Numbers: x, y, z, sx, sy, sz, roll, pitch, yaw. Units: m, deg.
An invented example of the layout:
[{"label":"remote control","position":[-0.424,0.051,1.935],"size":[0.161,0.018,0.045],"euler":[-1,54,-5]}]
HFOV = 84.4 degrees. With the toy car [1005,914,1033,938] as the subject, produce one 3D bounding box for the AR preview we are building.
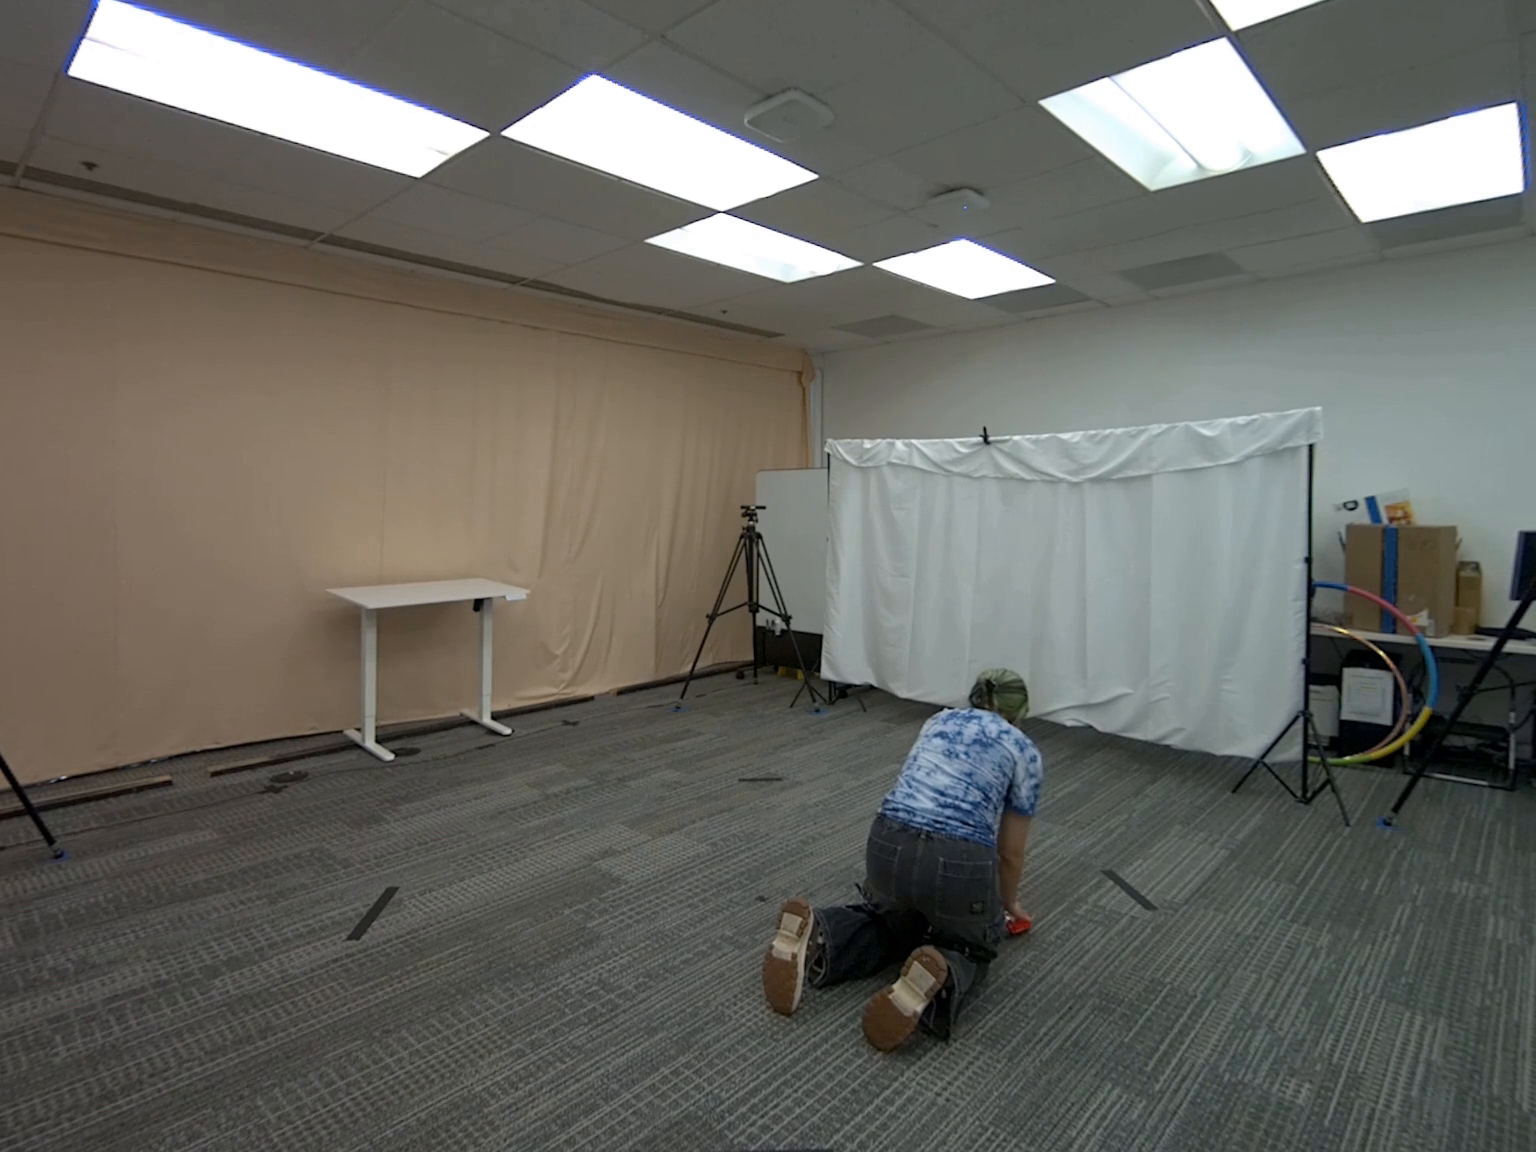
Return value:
[{"label":"toy car","position":[0.758,1.123,2.820],"size":[0.127,0.082,0.263],"euler":[-1,18,-31]}]
